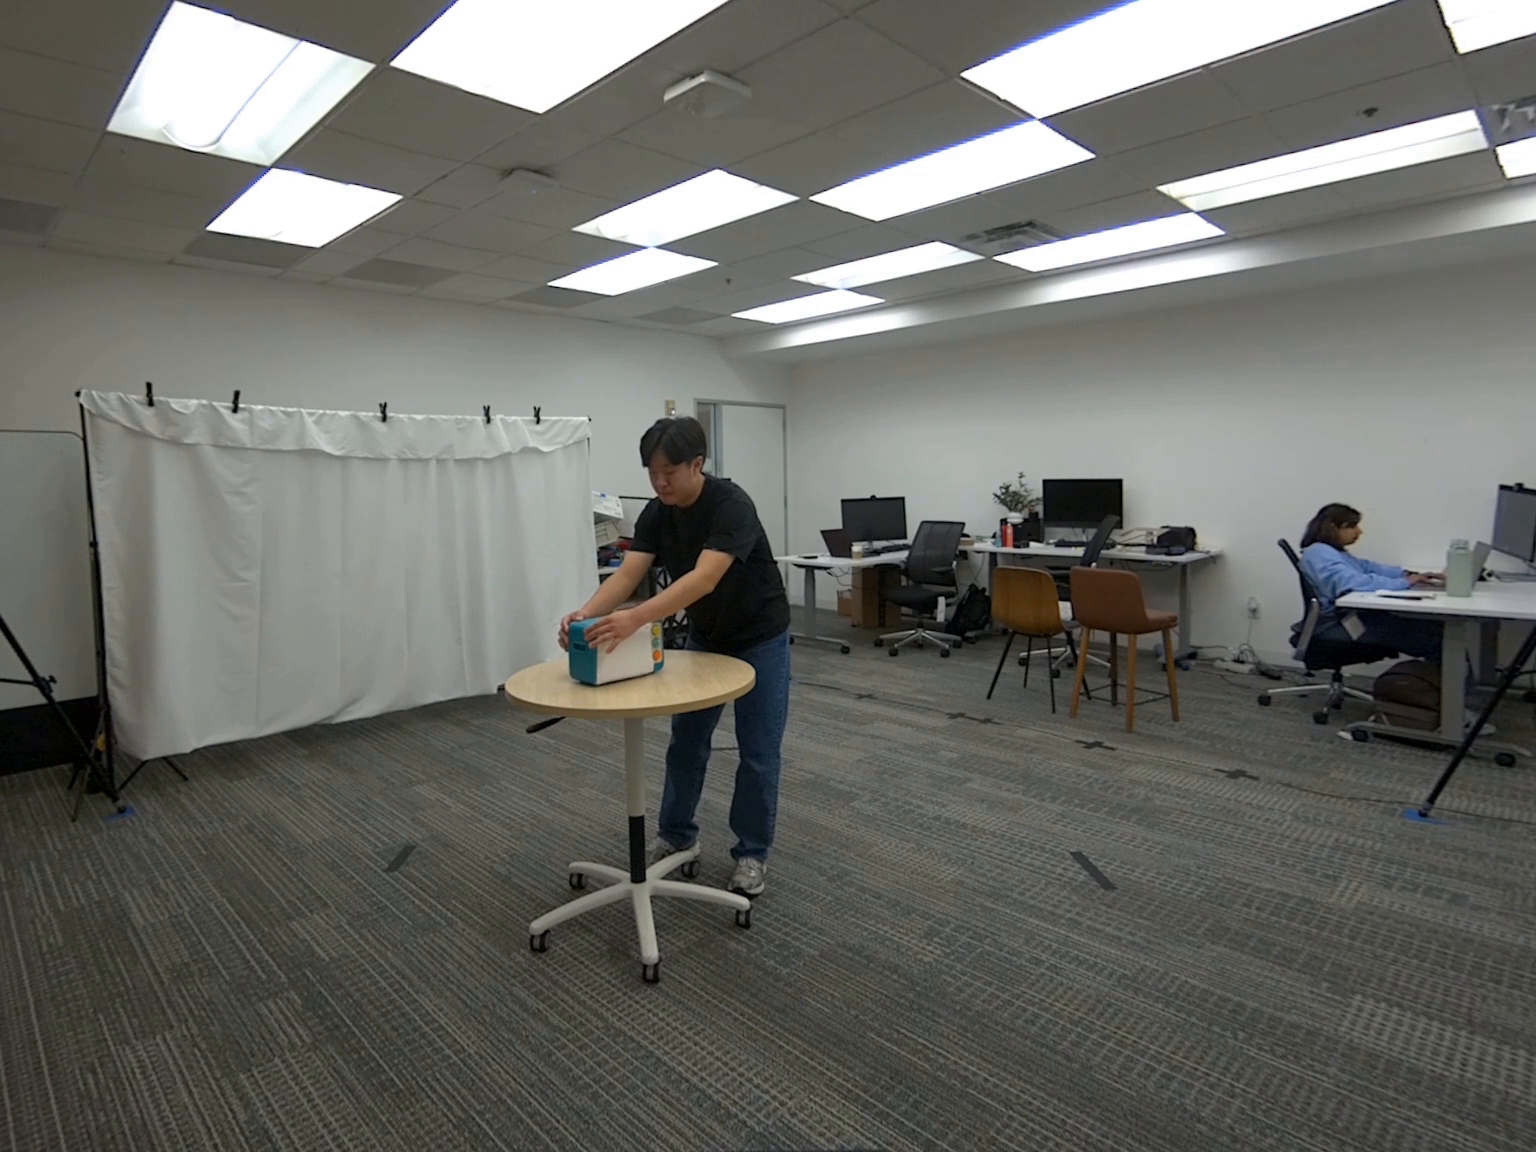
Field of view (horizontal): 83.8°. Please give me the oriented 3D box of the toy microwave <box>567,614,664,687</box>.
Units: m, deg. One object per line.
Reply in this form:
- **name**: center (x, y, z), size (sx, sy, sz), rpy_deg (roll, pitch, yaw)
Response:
- **toy microwave**: center (-0.456, 0.220, 2.616), size (0.157, 0.183, 0.279), rpy_deg (3, 7, 44)
